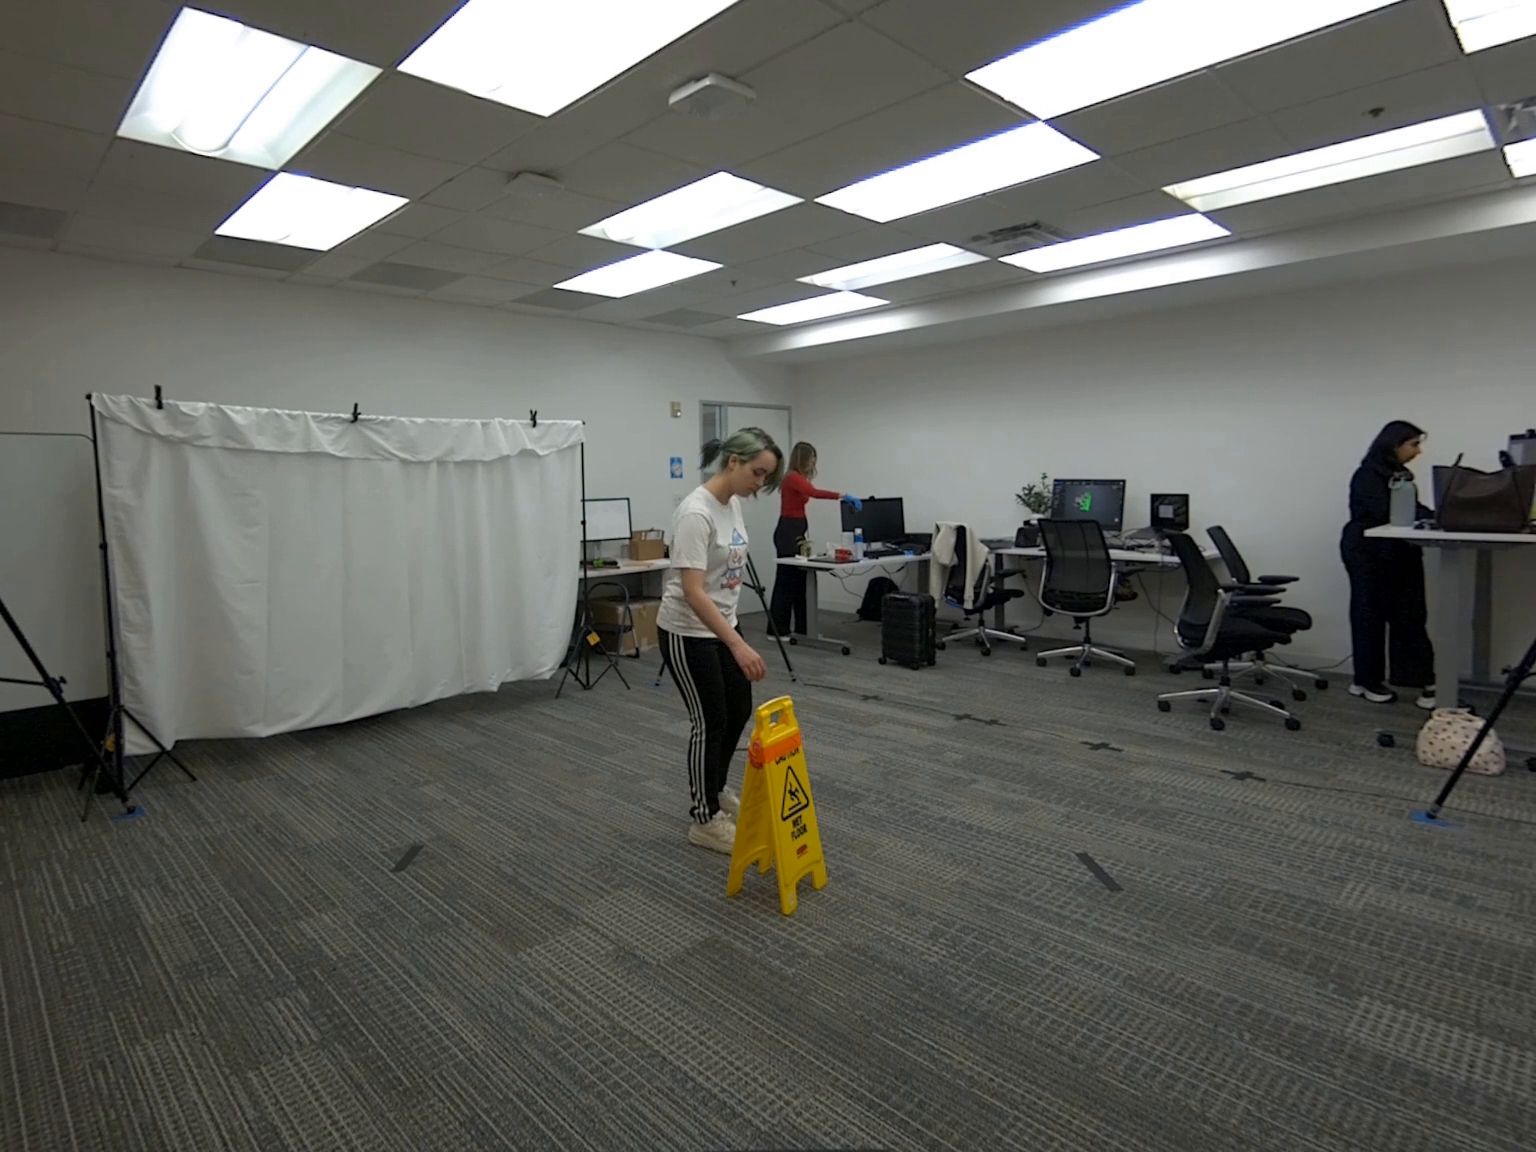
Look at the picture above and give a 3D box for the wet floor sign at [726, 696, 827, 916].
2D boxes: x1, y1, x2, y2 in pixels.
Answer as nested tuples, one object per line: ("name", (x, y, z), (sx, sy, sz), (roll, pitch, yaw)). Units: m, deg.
("wet floor sign", (0.030, 0.743, 2.889), (0.298, 0.643, 0.275), (3, 6, 35))
